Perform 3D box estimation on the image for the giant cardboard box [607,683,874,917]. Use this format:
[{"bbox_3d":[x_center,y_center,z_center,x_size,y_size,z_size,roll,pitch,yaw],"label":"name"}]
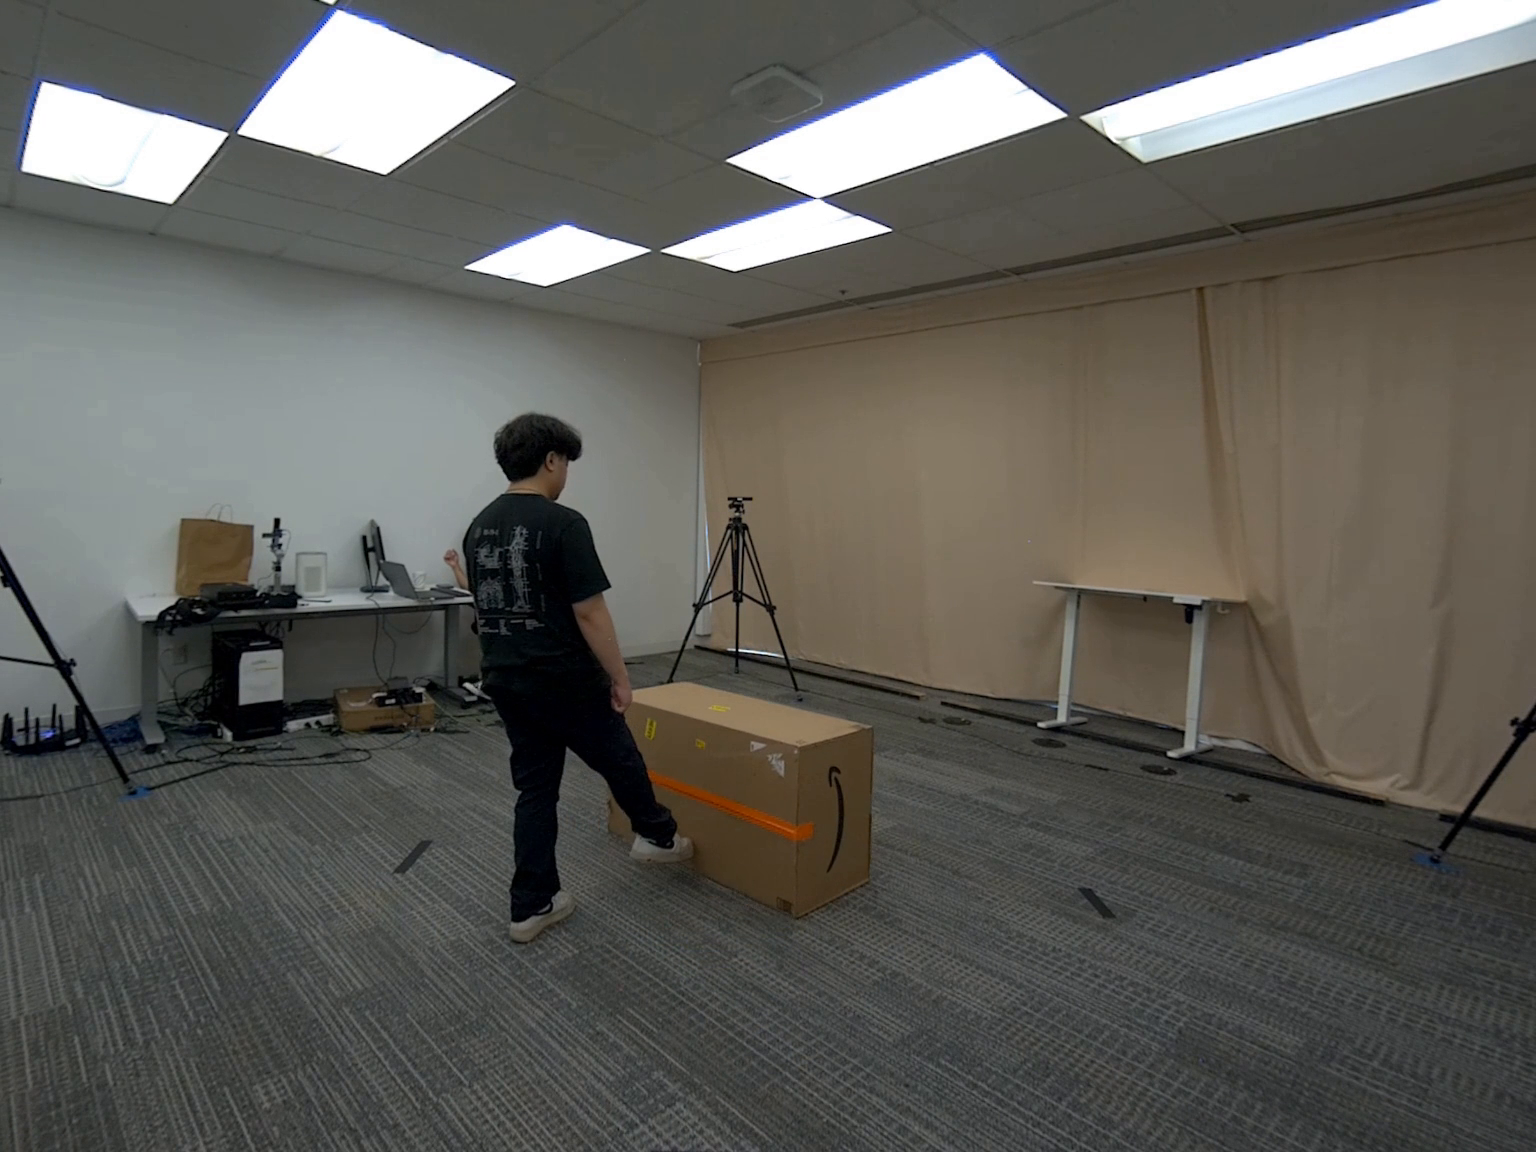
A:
[{"bbox_3d":[-0.146,0.806,3.280,1.053,0.582,0.437,5,5,43],"label":"giant cardboard box"}]
